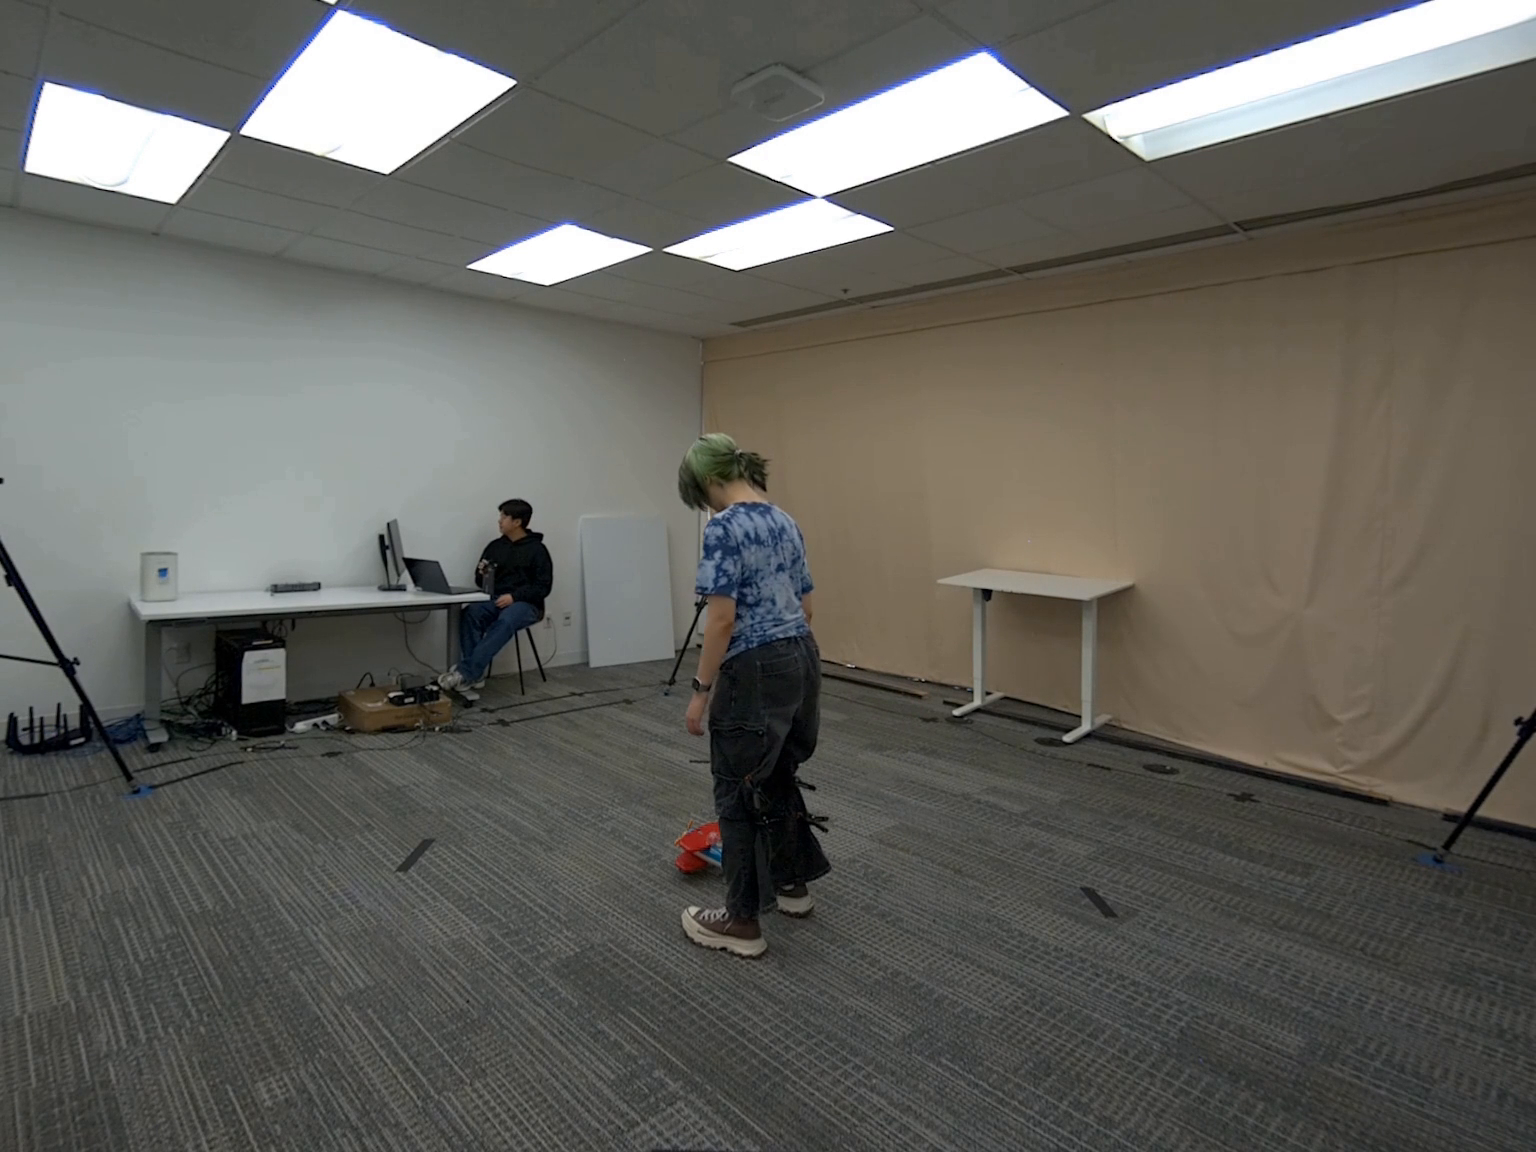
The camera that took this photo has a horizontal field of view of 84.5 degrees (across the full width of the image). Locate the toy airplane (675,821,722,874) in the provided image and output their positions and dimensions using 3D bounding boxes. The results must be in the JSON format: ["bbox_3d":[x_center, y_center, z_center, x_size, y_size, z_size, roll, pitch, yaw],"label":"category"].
[{"bbox_3d":[-0.210,1.026,3.117,0.260,0.156,0.250,0,4,5],"label":"toy airplane"}]
